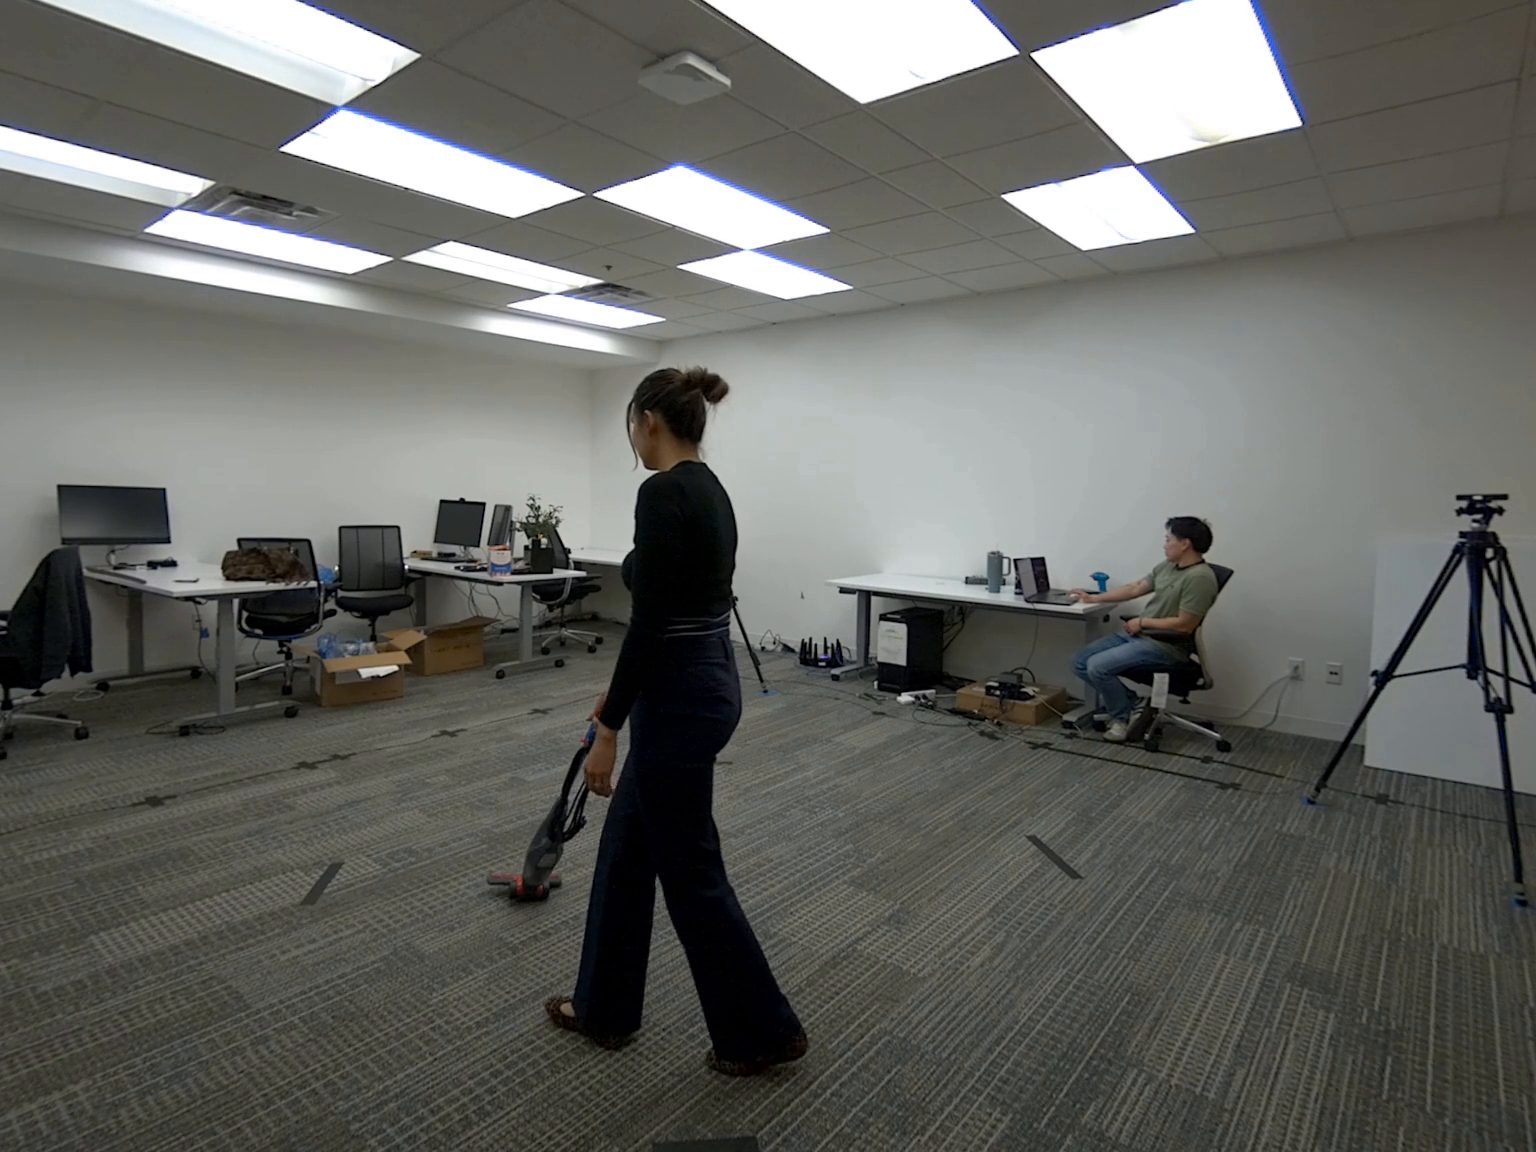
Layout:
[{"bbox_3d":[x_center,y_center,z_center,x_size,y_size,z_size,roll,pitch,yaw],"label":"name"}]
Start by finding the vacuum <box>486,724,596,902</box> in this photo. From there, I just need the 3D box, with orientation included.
[{"bbox_3d":[-0.635,0.718,2.562,0.246,0.149,1.038,5,-44,-27],"label":"vacuum"}]
